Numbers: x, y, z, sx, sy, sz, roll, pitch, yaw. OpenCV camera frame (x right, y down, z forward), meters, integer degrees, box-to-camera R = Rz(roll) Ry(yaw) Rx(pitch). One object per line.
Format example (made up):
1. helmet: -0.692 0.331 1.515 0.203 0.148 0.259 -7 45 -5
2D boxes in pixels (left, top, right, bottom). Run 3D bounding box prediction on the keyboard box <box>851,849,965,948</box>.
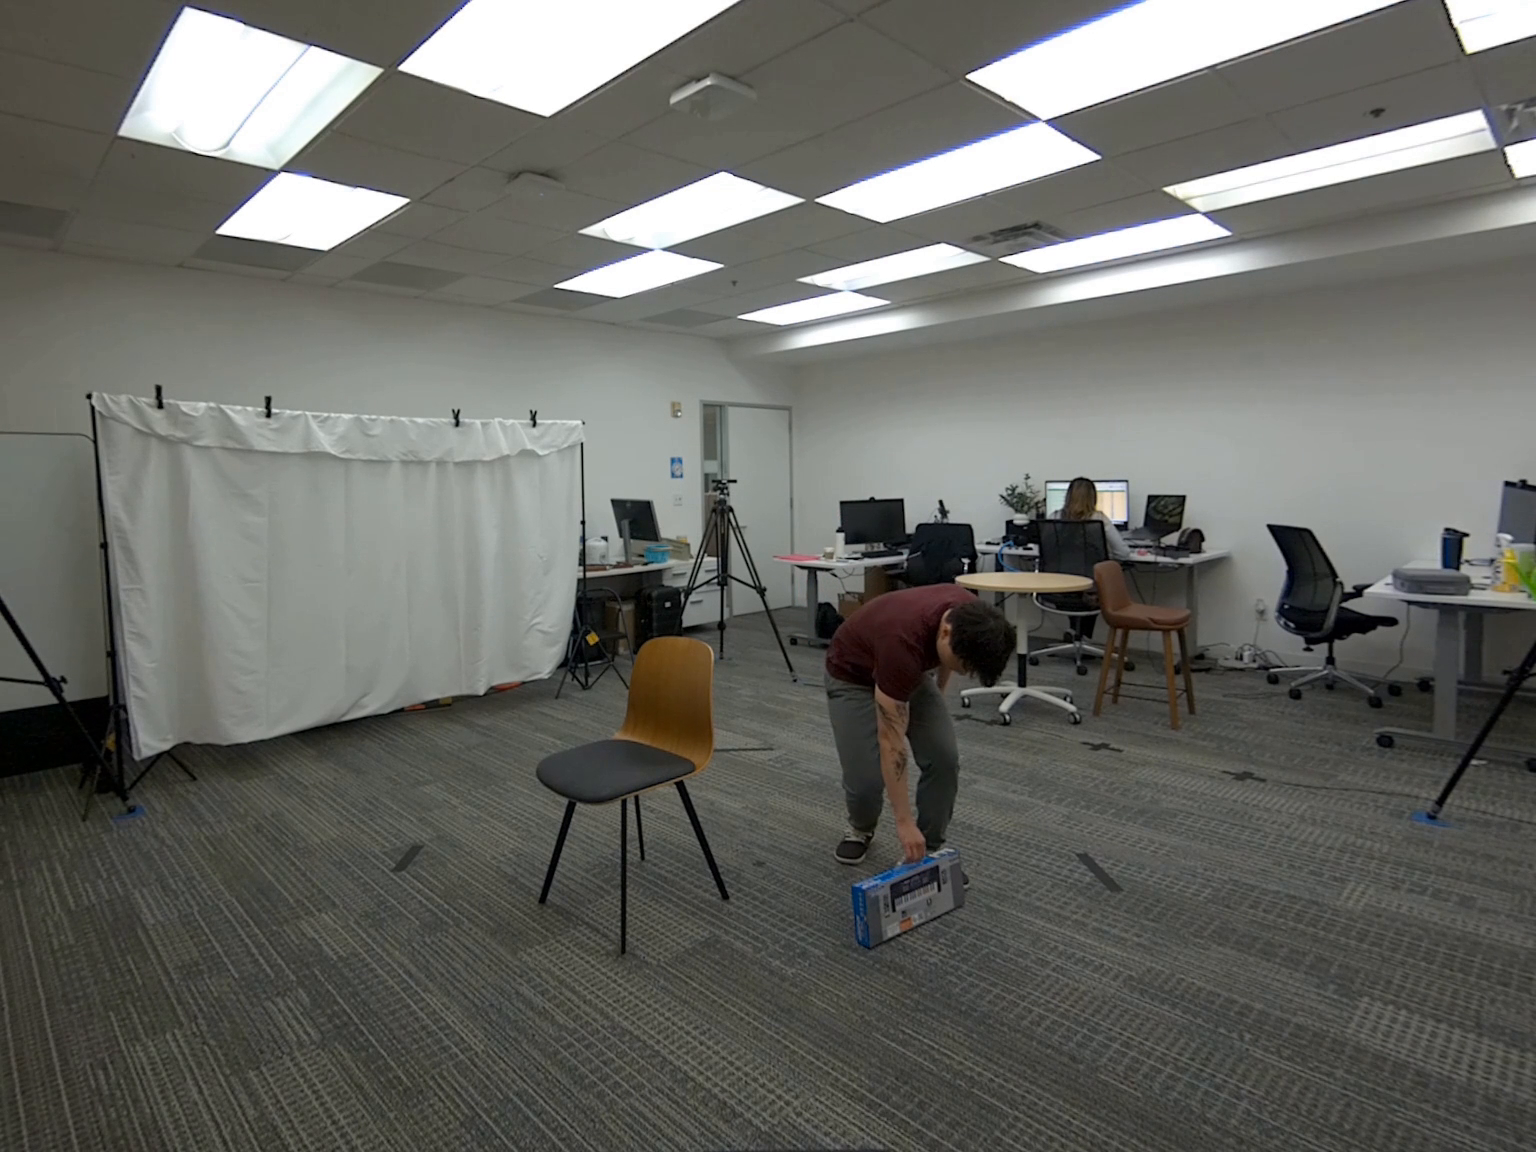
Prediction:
1. keyboard box: 0.444 0.994 2.677 0.426 0.176 0.060 -6 -2 -37
